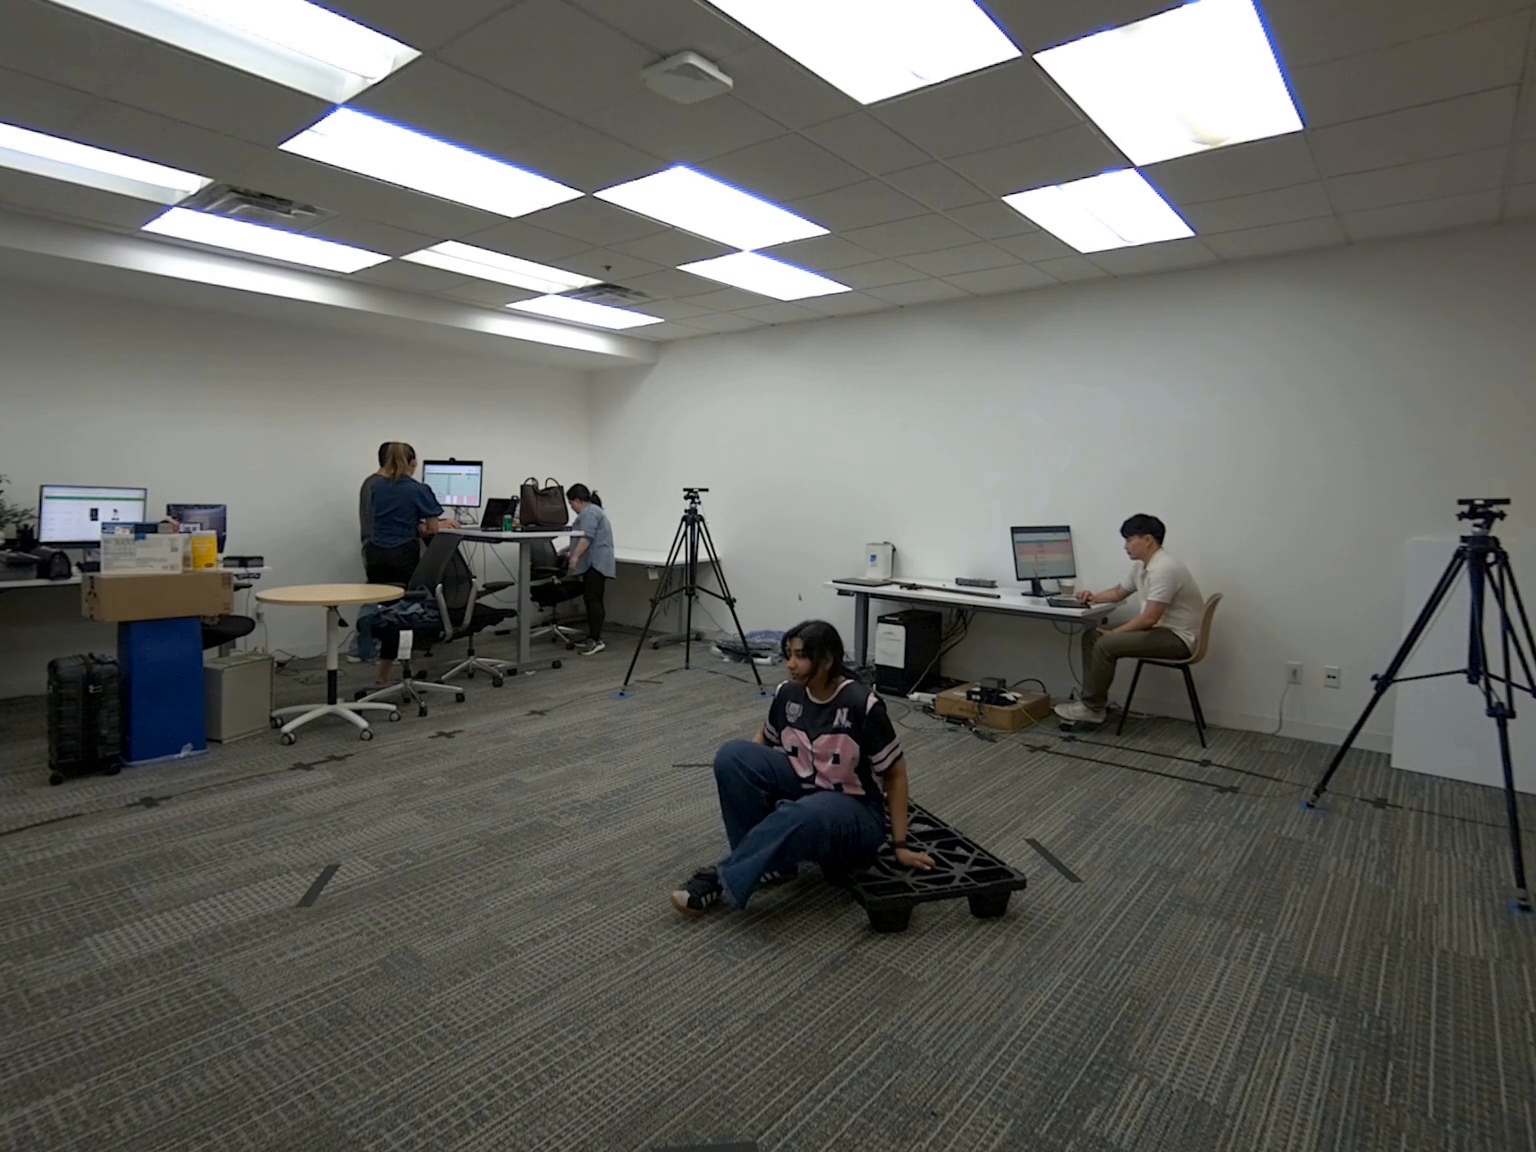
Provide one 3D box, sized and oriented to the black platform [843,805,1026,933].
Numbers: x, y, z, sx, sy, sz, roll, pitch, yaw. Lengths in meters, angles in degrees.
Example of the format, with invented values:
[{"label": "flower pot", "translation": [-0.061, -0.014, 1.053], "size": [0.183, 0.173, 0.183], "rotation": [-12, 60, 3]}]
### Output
[{"label": "black platform", "translation": [0.432, 1.023, 3.084], "size": [0.594, 0.143, 0.824], "rotation": [-1, 5, -19]}]
